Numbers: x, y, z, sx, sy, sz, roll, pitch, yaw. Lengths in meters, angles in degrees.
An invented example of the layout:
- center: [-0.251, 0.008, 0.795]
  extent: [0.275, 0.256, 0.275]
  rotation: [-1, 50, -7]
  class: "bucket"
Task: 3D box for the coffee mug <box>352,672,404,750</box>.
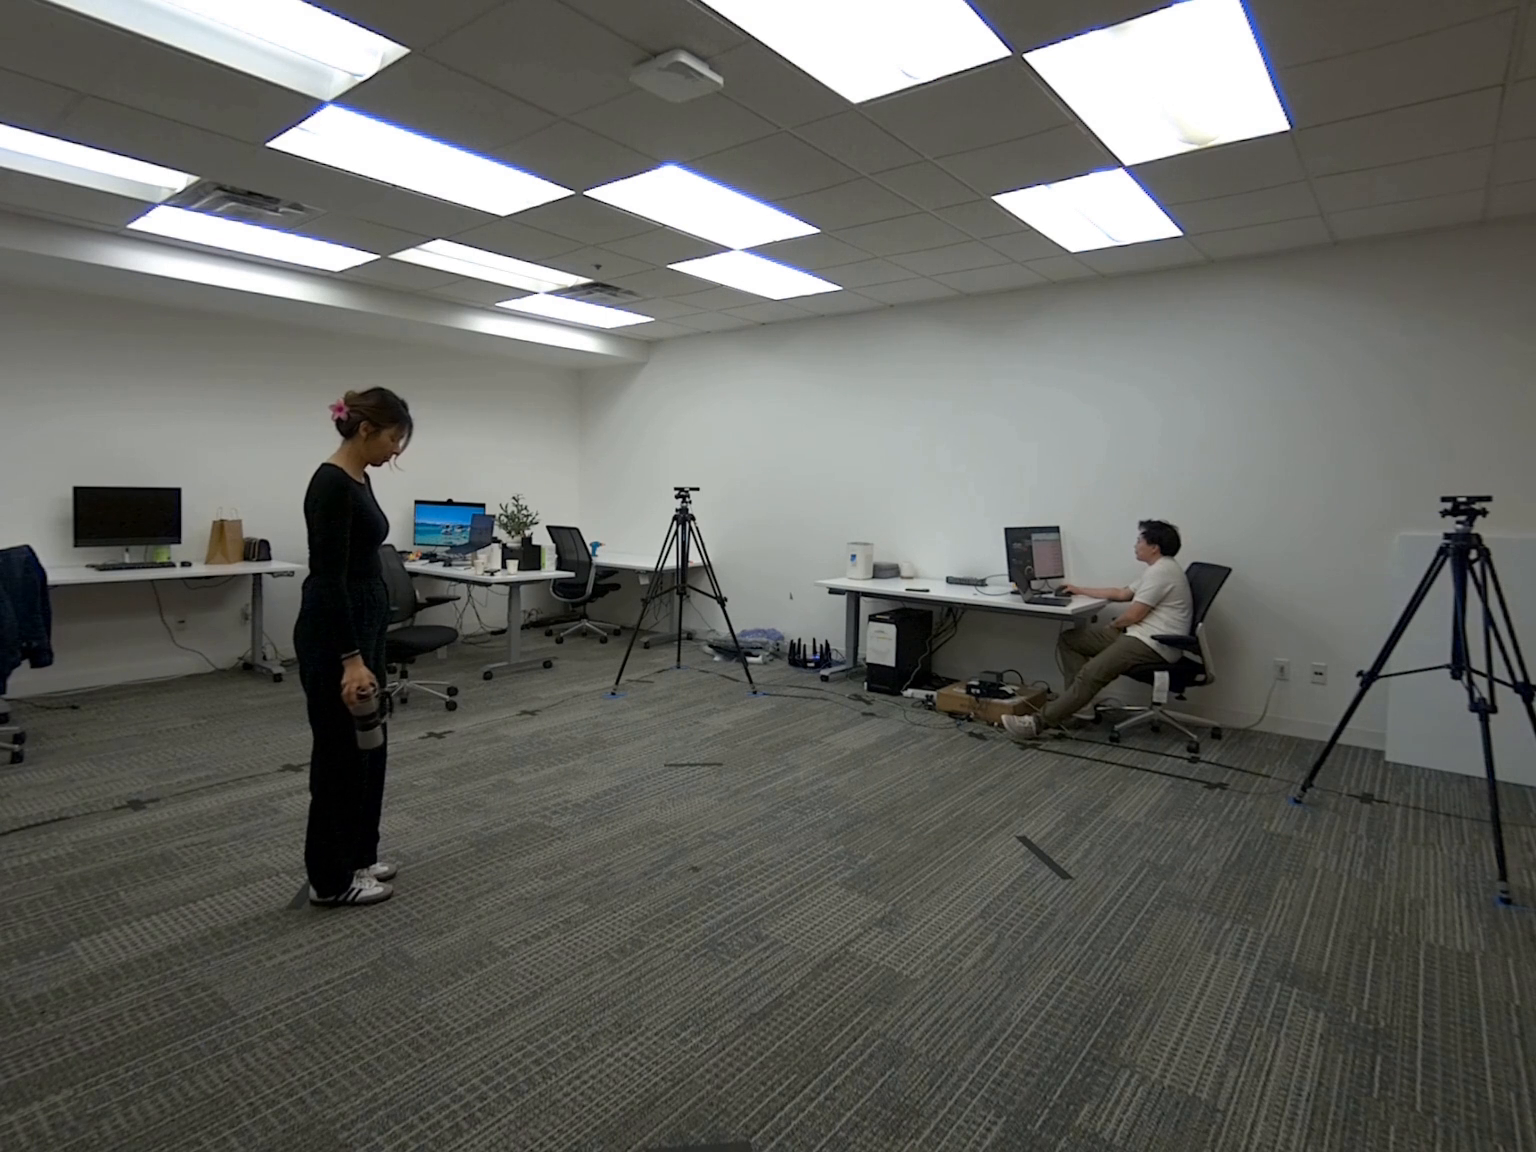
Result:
- center: [-1.209, 0.414, 2.566]
  extent: [0.121, 0.200, 0.089]
  rotation: [-9, 12, -5]
  class: "coffee mug"
